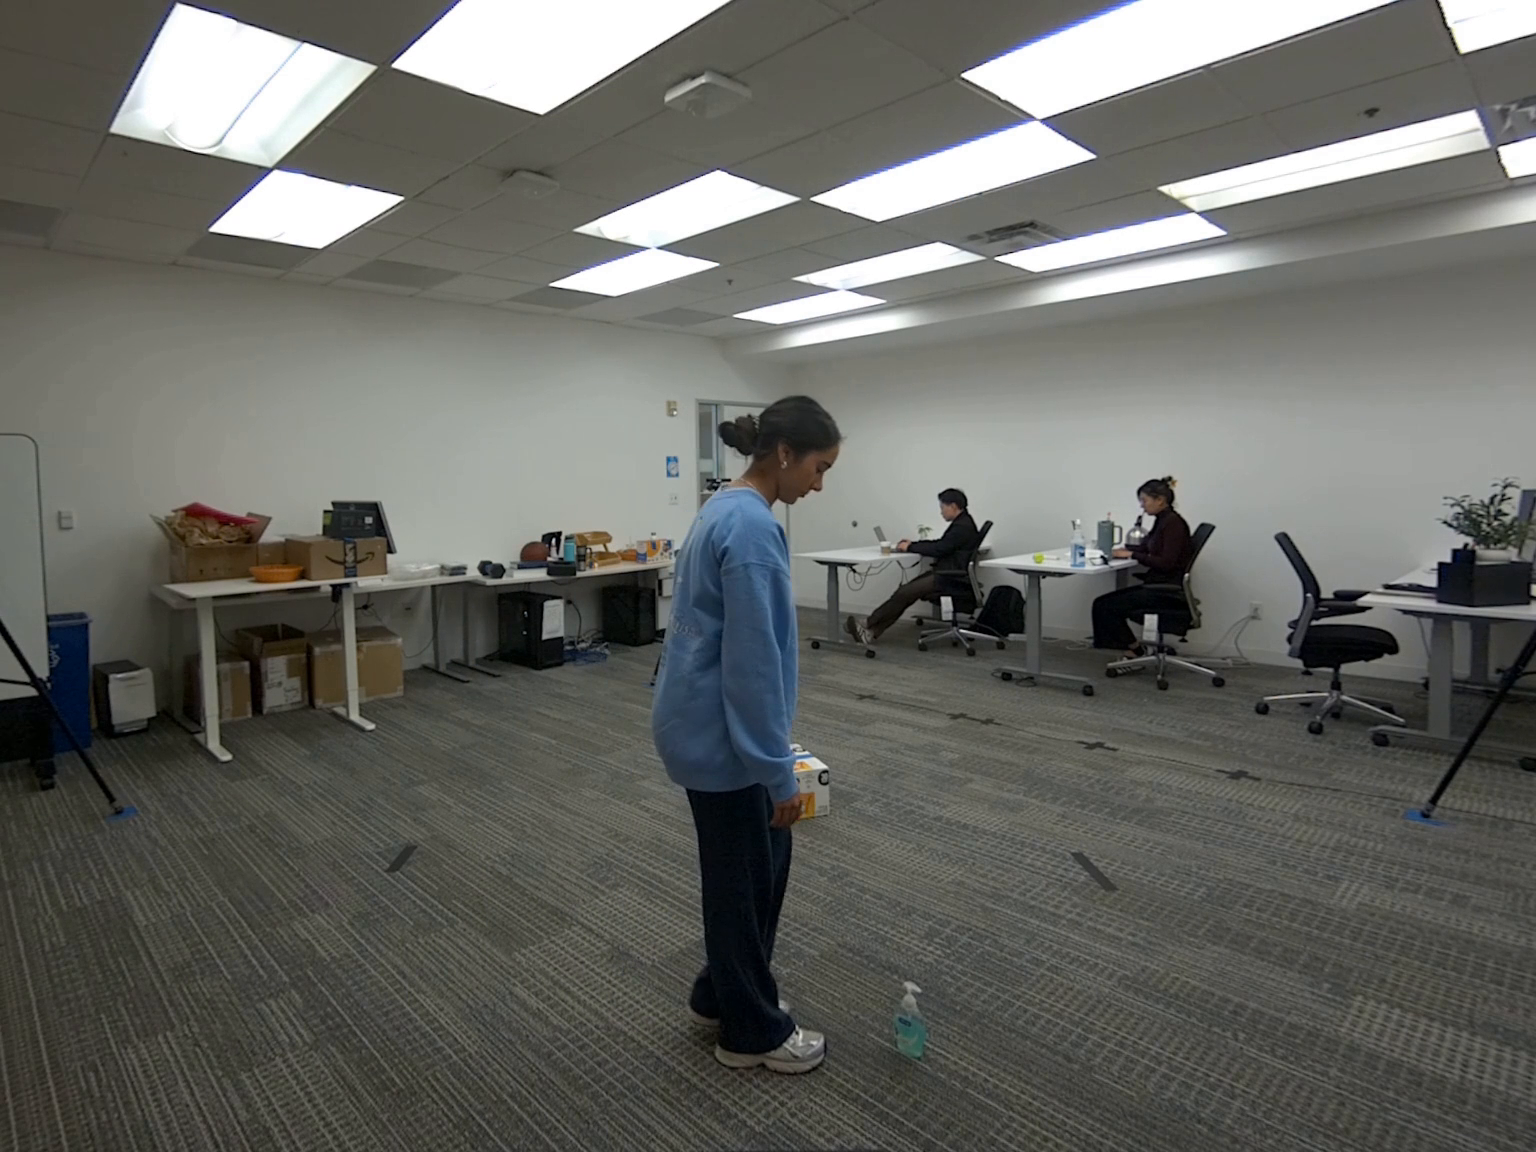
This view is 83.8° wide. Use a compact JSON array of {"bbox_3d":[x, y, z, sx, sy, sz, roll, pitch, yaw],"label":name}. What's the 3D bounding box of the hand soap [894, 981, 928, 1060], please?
[{"bbox_3d":[0.347,1.068,2.077,0.087,0.167,0.042,2,5,41],"label":"hand soap"}]
